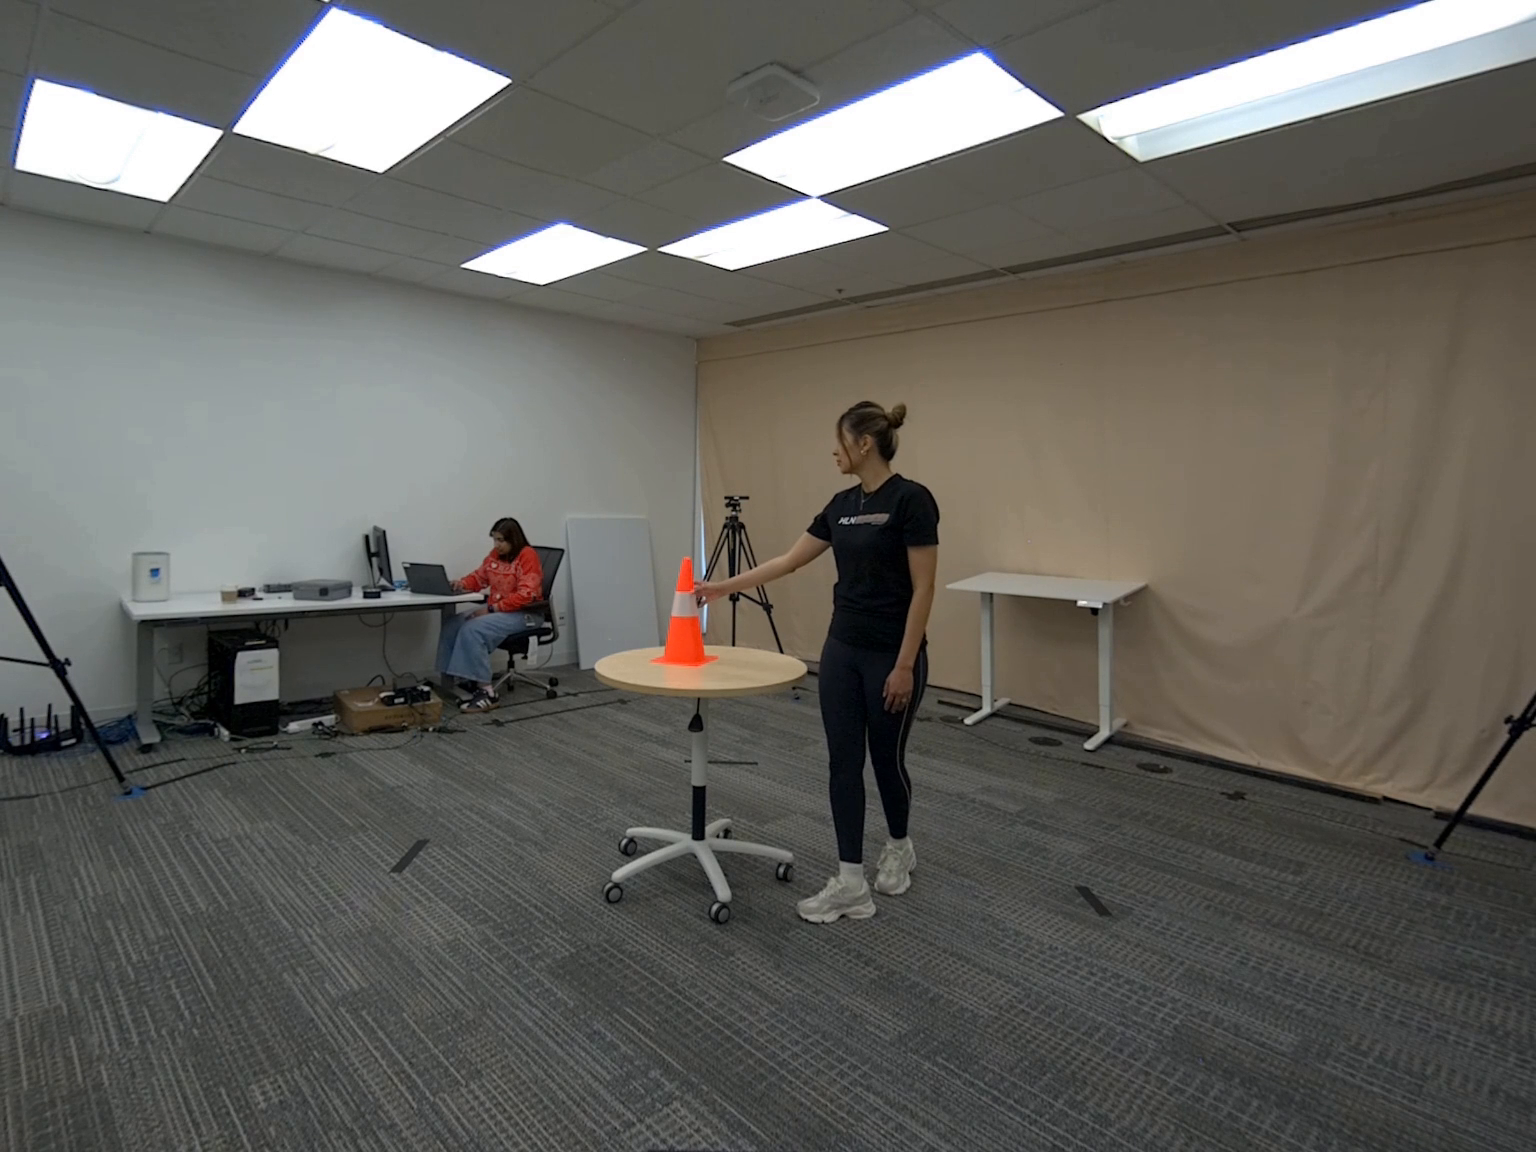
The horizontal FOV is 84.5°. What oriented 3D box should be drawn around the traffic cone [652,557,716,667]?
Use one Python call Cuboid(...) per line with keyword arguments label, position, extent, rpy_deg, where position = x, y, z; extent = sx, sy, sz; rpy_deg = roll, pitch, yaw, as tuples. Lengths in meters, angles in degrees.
Cuboid(label="traffic cone", position=(-0.308, 0.129, 3.114), extent=(0.209, 0.382, 0.200), rpy_deg=(5, 7, 27))
